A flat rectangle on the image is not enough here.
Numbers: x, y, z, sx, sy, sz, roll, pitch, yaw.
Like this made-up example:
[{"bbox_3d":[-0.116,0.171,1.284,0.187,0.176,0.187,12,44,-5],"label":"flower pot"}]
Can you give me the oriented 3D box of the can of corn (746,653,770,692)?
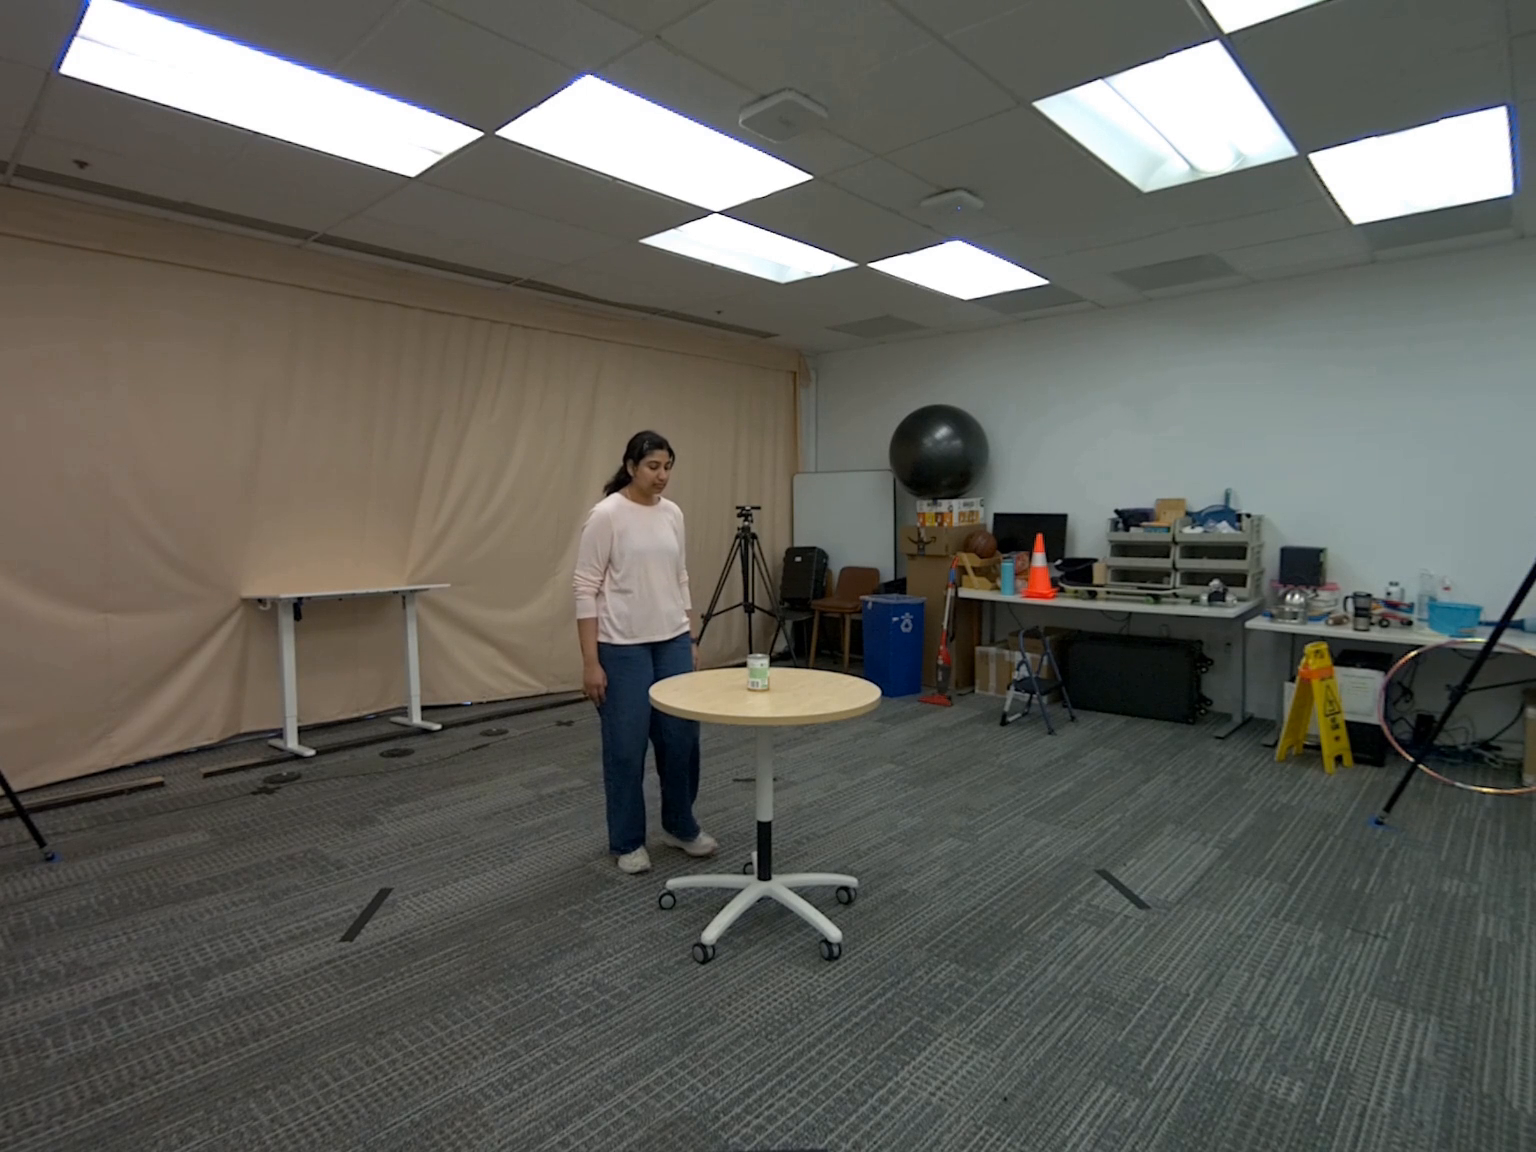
[{"bbox_3d":[-0.027,0.322,2.785,0.074,0.111,0.074,0,4,-2],"label":"can of corn"}]
